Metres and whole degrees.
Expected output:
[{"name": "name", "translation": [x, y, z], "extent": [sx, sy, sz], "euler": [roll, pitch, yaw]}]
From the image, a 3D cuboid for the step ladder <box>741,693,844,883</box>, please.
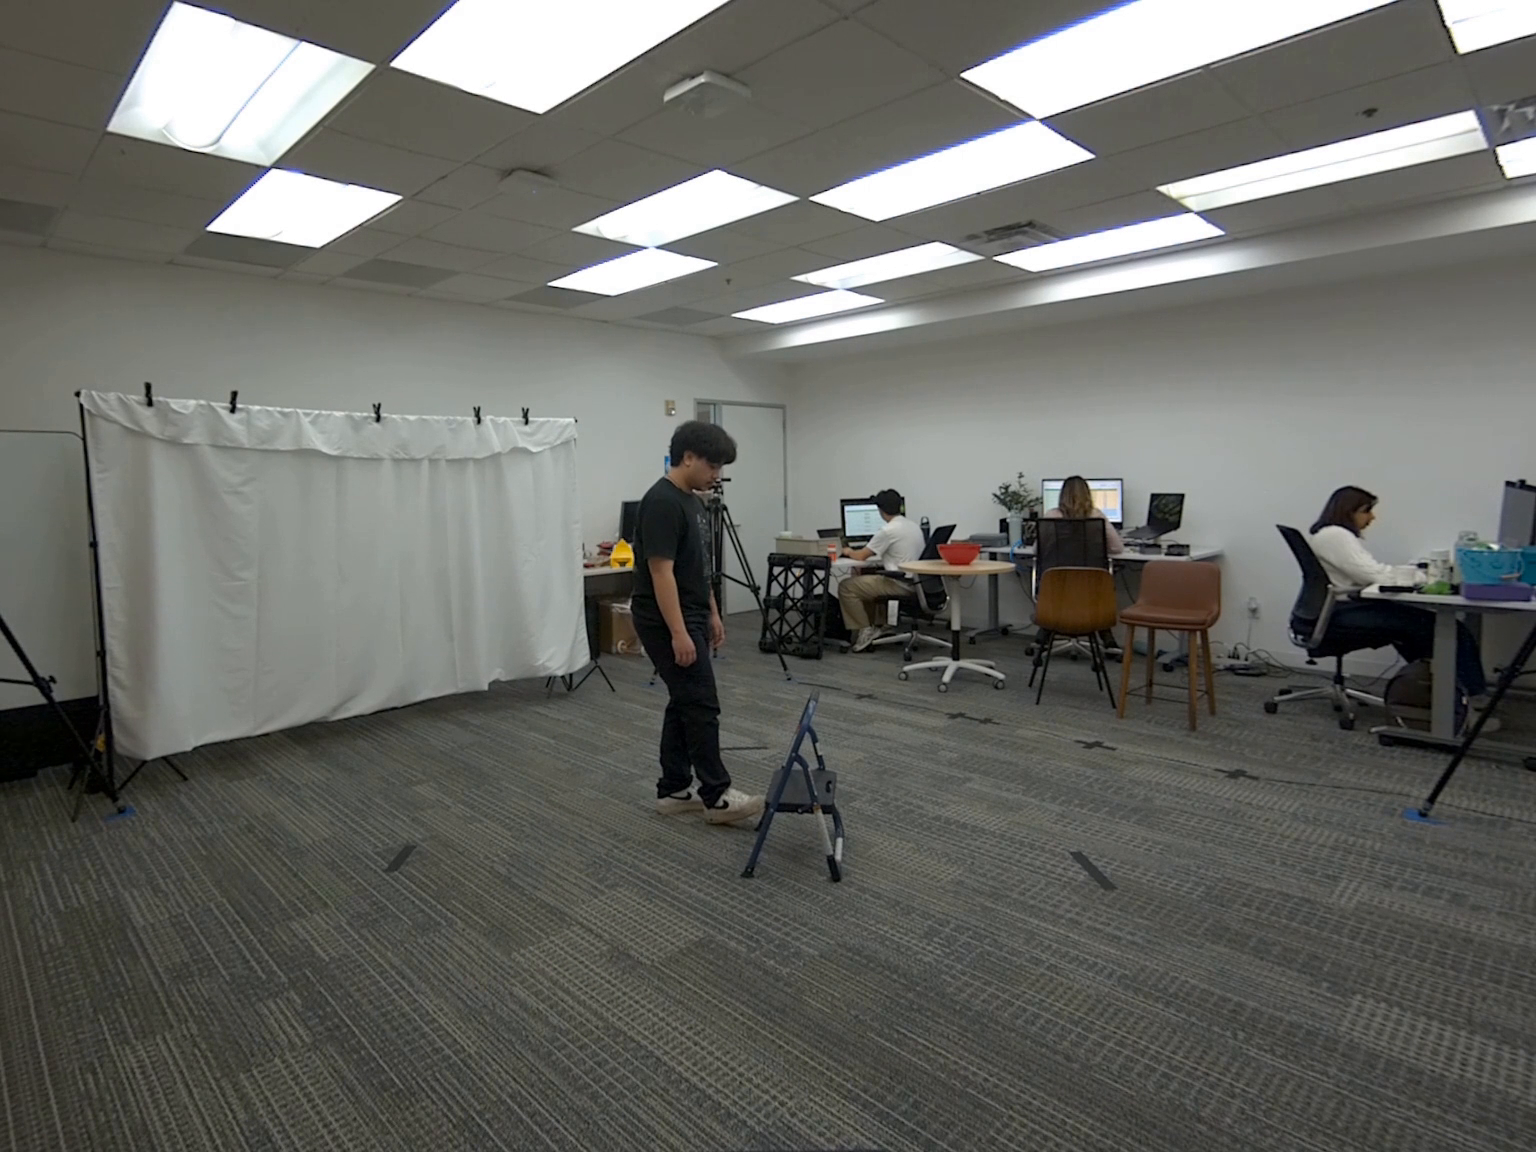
[{"name": "step ladder", "translation": [0.107, 0.735, 3.147], "extent": [0.352, 0.604, 0.429], "euler": [0, 4, 7]}]
